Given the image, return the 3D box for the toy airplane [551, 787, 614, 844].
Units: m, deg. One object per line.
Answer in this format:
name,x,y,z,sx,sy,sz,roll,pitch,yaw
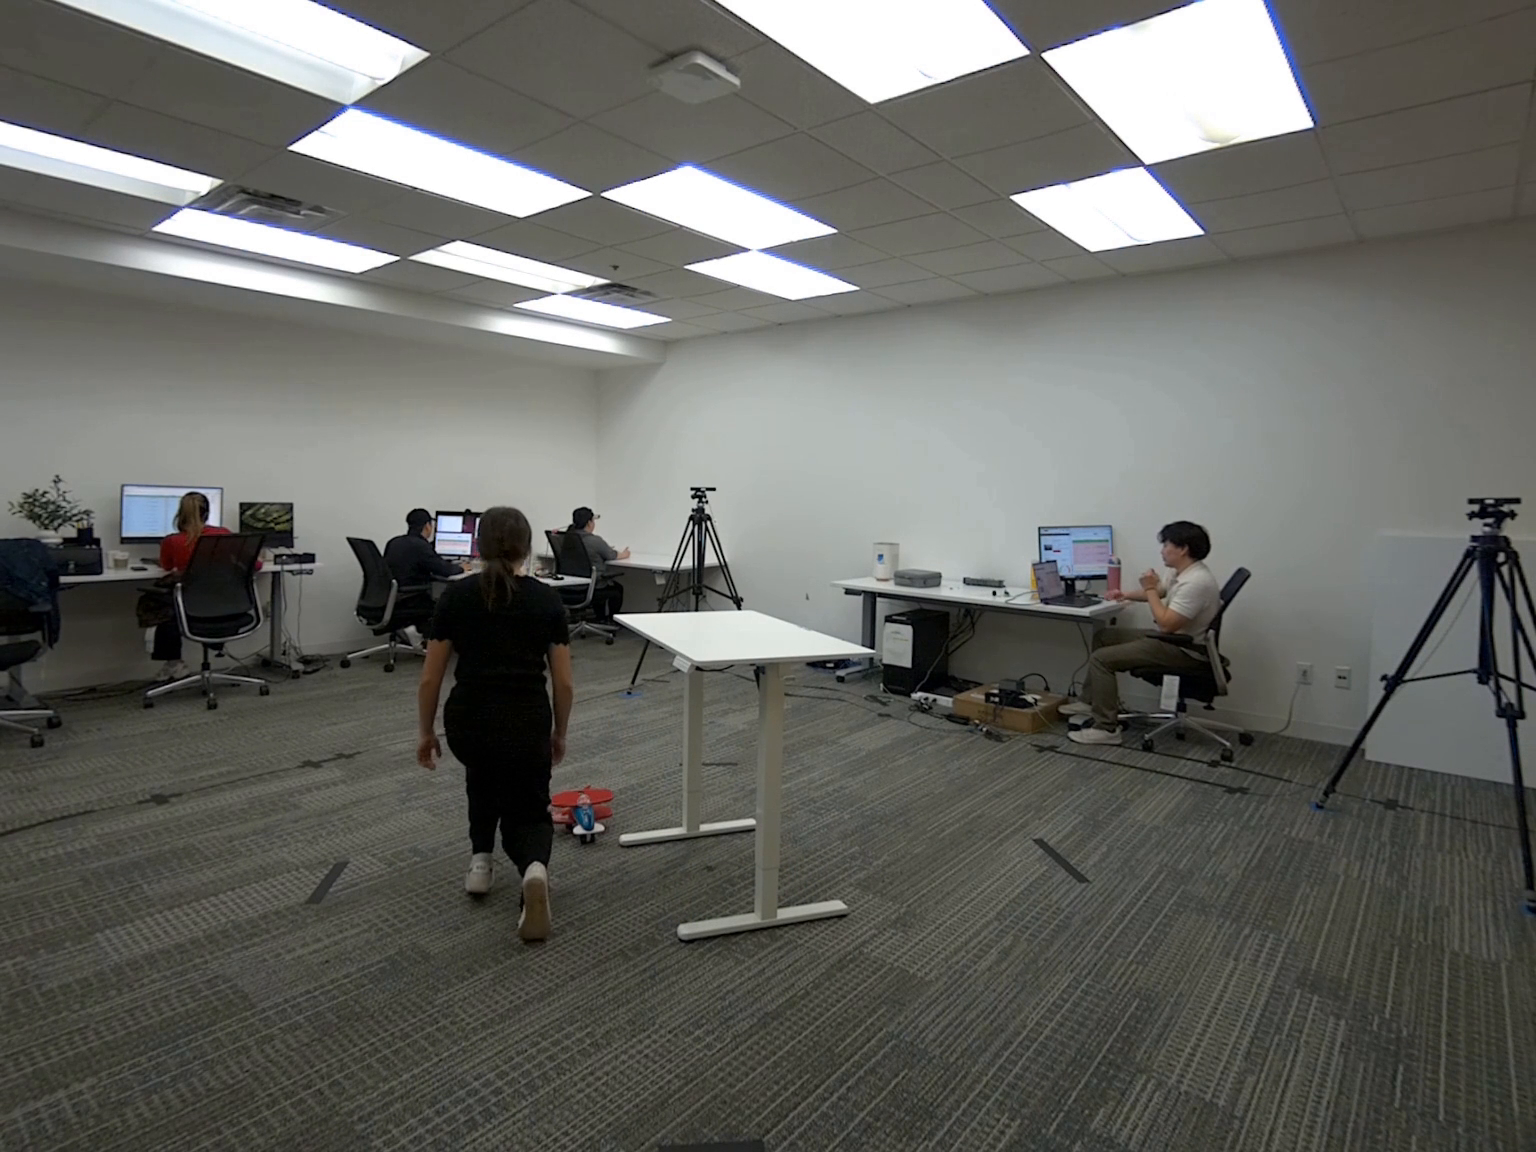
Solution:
toy airplane,-0.736,0.952,3.406,0.268,0.156,0.244,3,6,40
